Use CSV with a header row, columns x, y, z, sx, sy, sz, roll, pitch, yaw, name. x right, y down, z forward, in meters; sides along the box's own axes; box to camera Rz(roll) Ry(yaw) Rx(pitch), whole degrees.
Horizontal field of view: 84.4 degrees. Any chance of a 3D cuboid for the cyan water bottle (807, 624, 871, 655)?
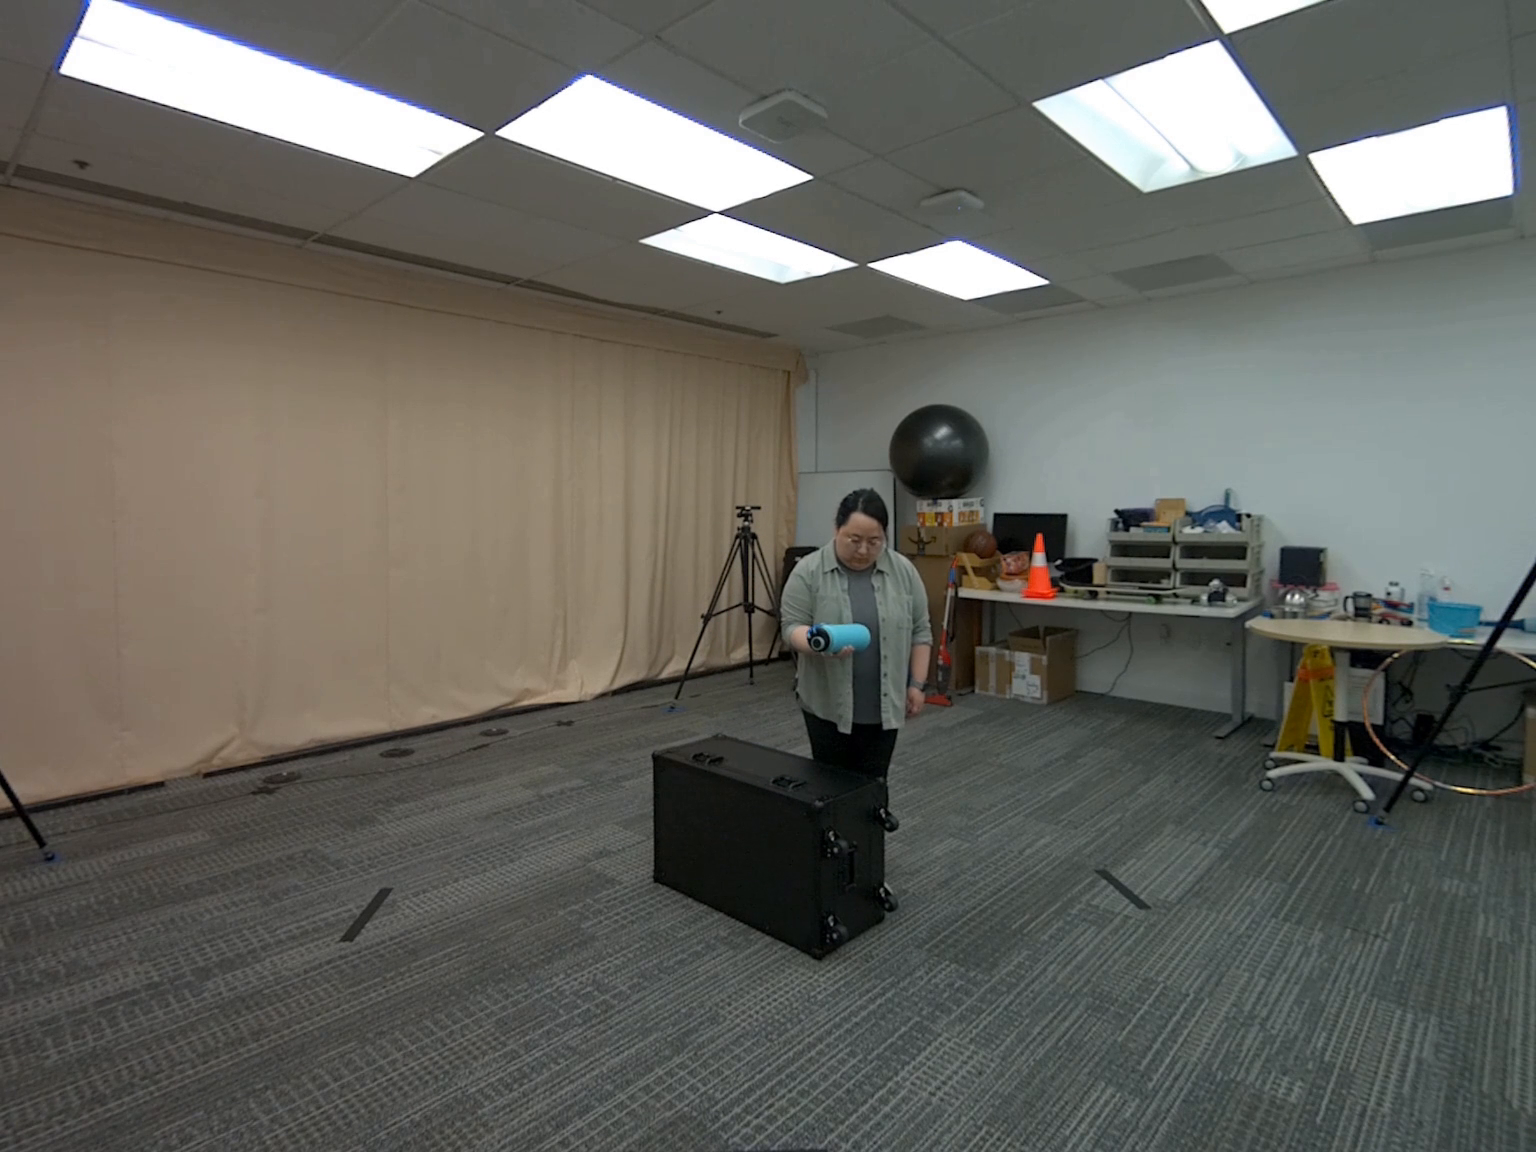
x,y,z,sx,sy,sz,roll,pitch,yaw,name
0.228,0.208,2.737,0.095,0.092,0.274,3,-1,36,cyan water bottle
